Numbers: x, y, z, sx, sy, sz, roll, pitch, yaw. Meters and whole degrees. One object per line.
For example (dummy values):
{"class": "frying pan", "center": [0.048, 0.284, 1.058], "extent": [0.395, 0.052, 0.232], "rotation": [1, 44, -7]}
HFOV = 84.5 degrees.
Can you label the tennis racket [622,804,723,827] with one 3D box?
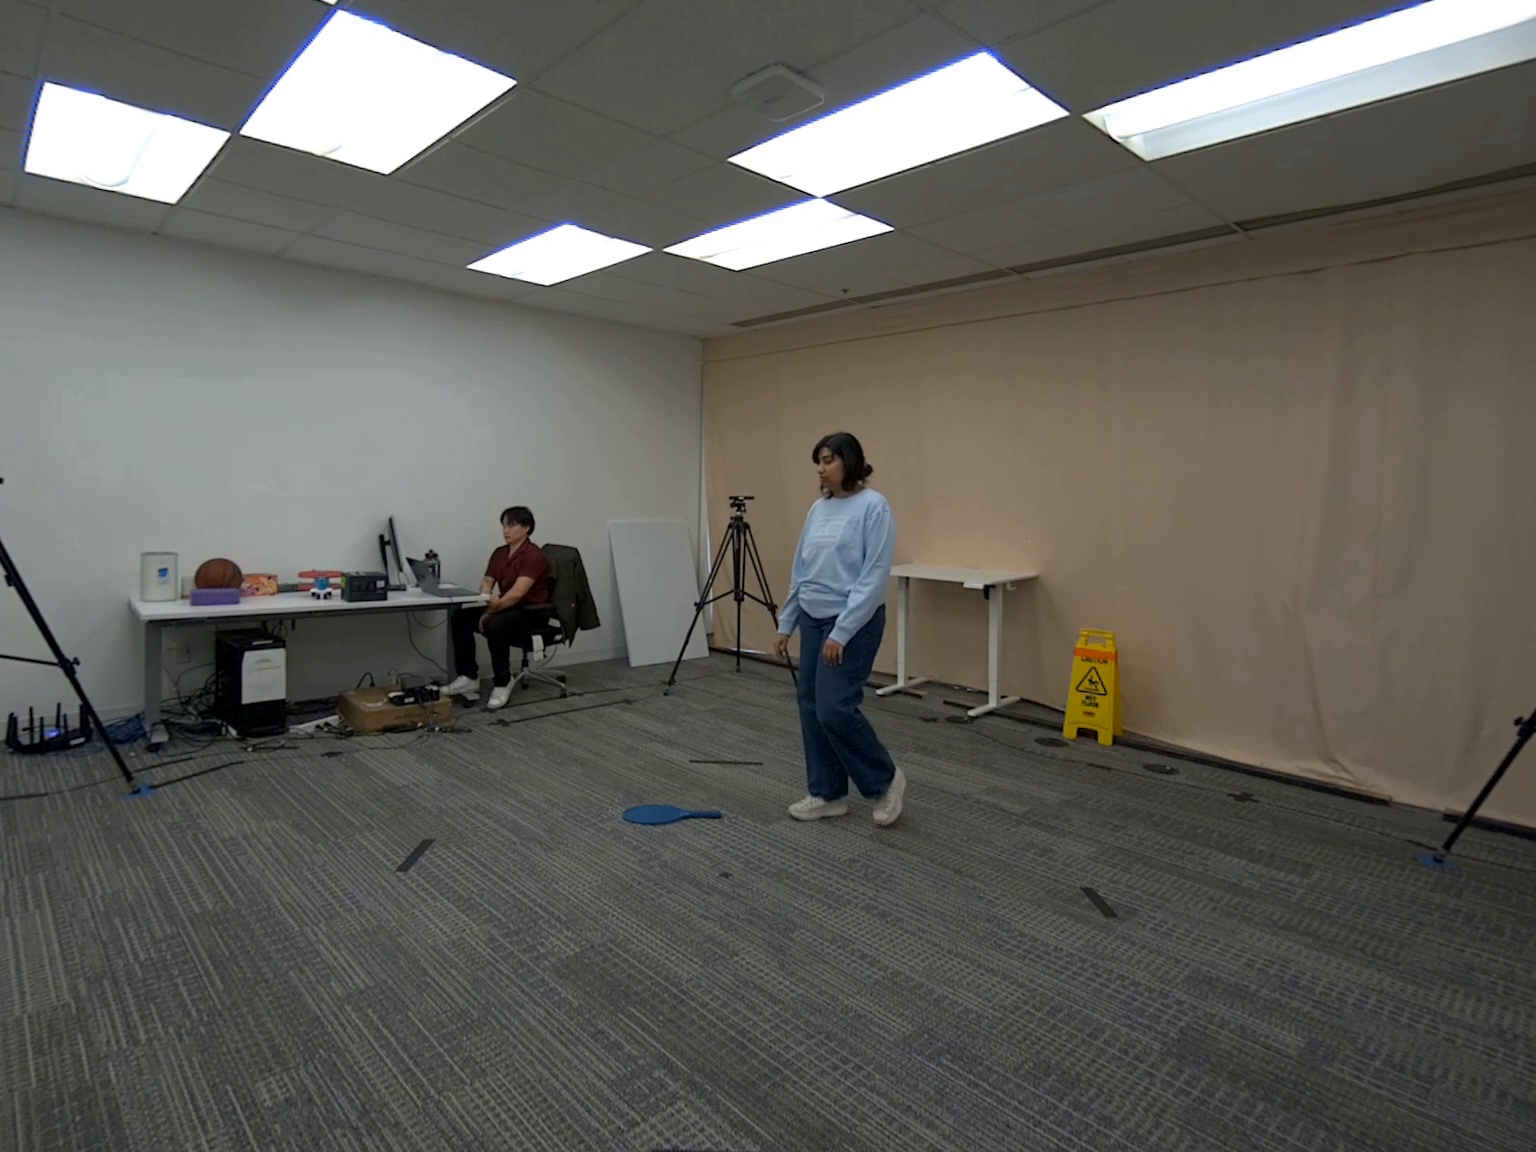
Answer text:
{"class": "tennis racket", "center": [-0.422, 1.034, 3.664], "extent": [0.432, 0.031, 0.215], "rotation": [0, 6, -3]}
